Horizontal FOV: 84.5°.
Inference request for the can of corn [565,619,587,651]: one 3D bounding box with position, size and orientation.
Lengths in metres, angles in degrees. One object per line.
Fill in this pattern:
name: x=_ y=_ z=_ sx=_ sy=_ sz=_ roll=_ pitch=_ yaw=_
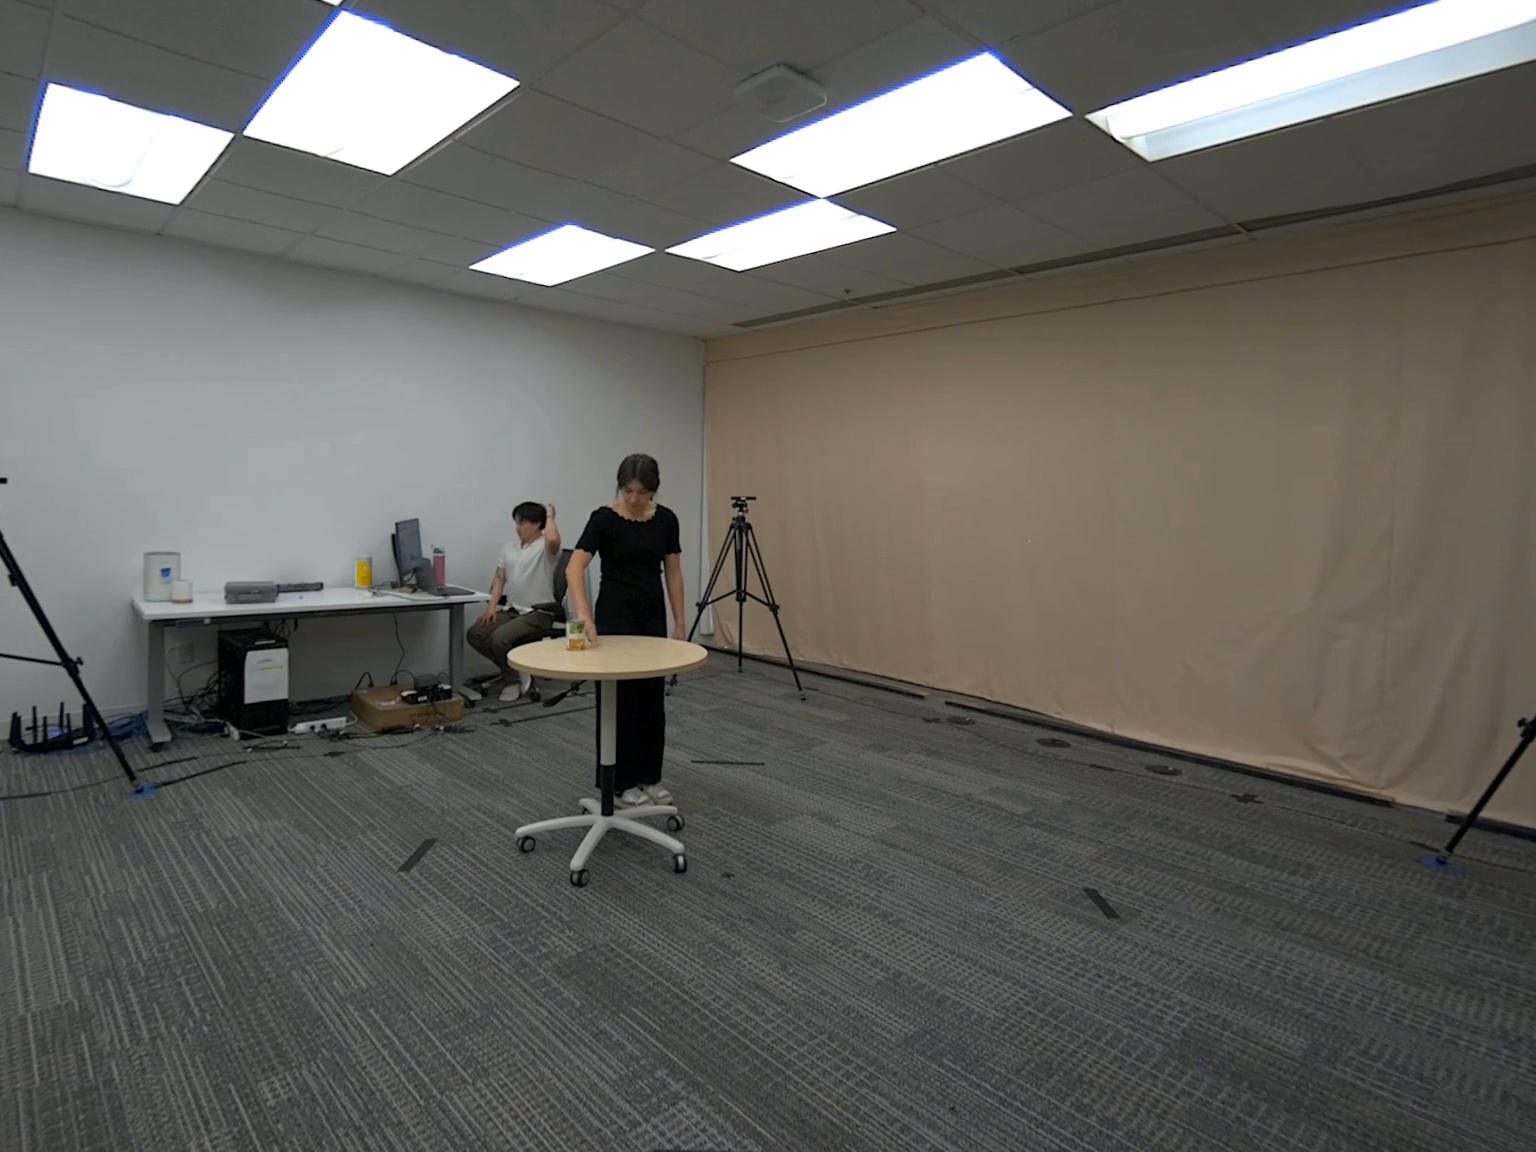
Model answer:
can of corn: x=-0.778 y=0.234 z=3.319 sx=0.074 sy=0.111 sz=0.074 roll=1 pitch=3 yaw=-1
